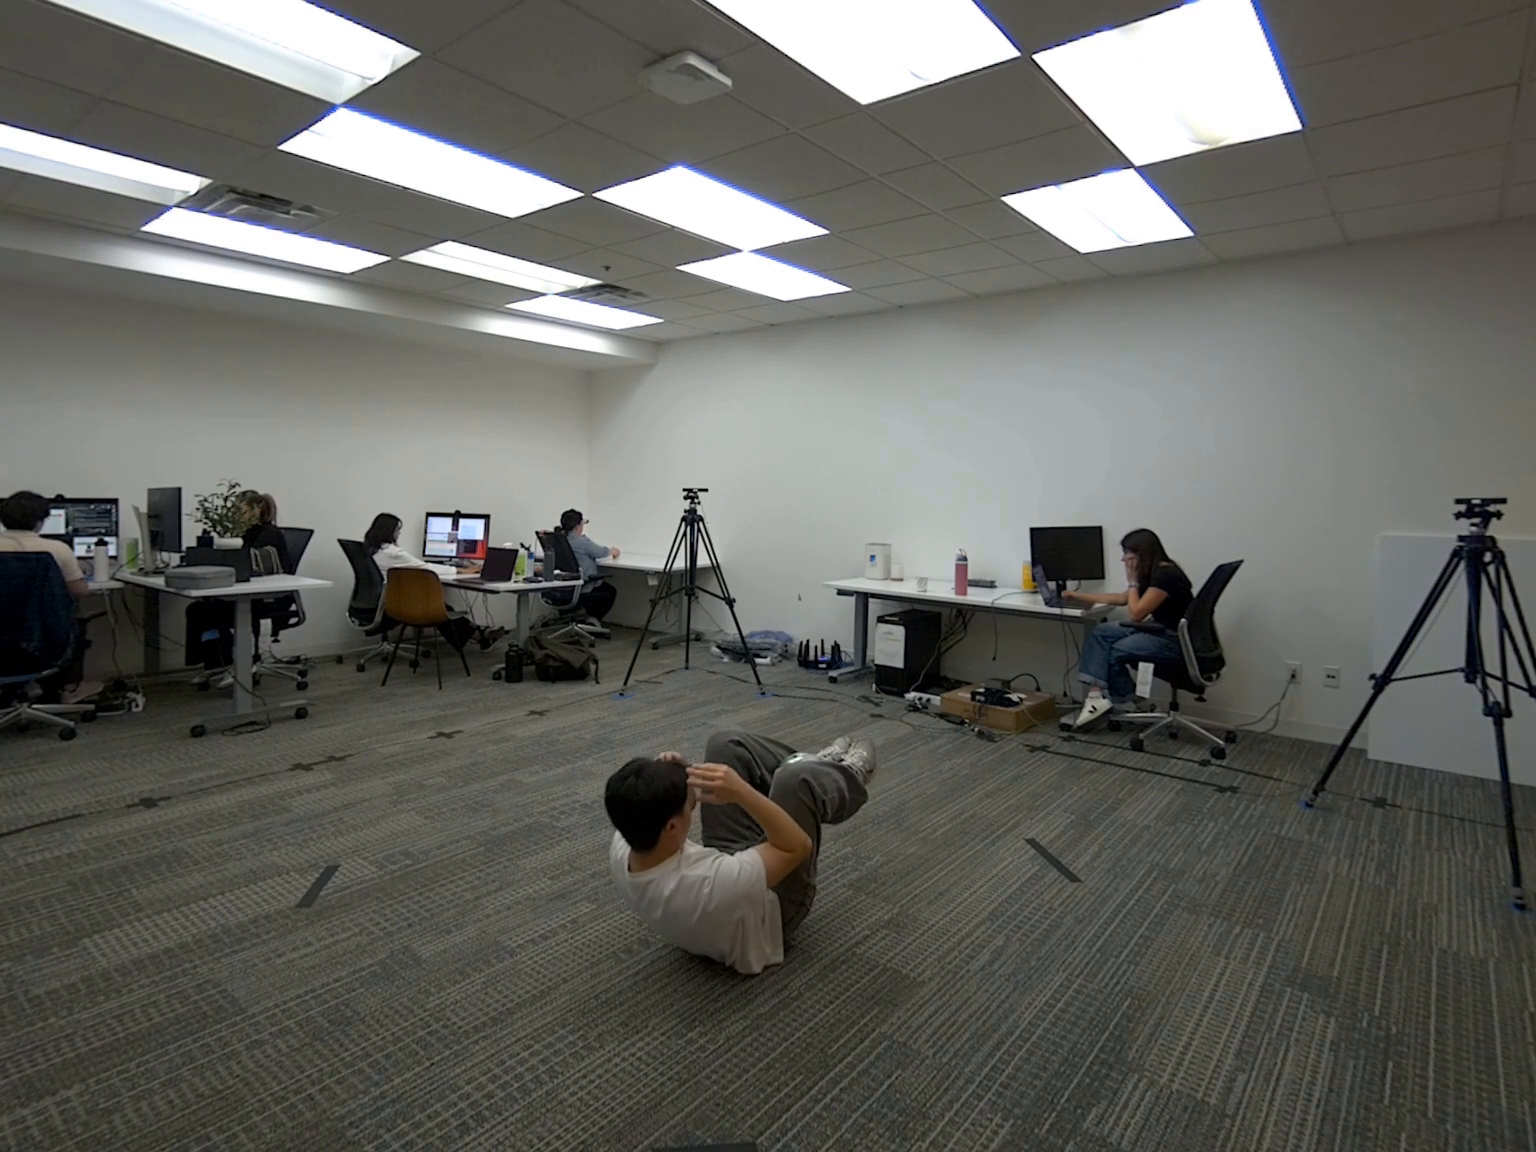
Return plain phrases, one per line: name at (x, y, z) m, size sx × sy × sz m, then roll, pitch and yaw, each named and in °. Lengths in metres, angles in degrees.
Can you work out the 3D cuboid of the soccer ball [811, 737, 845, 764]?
soccer ball at (0.119, 0.674, 2.814) m, size 0.187 × 0.187 × 0.188 m, roll 1°, pitch 4°, yaw -2°
